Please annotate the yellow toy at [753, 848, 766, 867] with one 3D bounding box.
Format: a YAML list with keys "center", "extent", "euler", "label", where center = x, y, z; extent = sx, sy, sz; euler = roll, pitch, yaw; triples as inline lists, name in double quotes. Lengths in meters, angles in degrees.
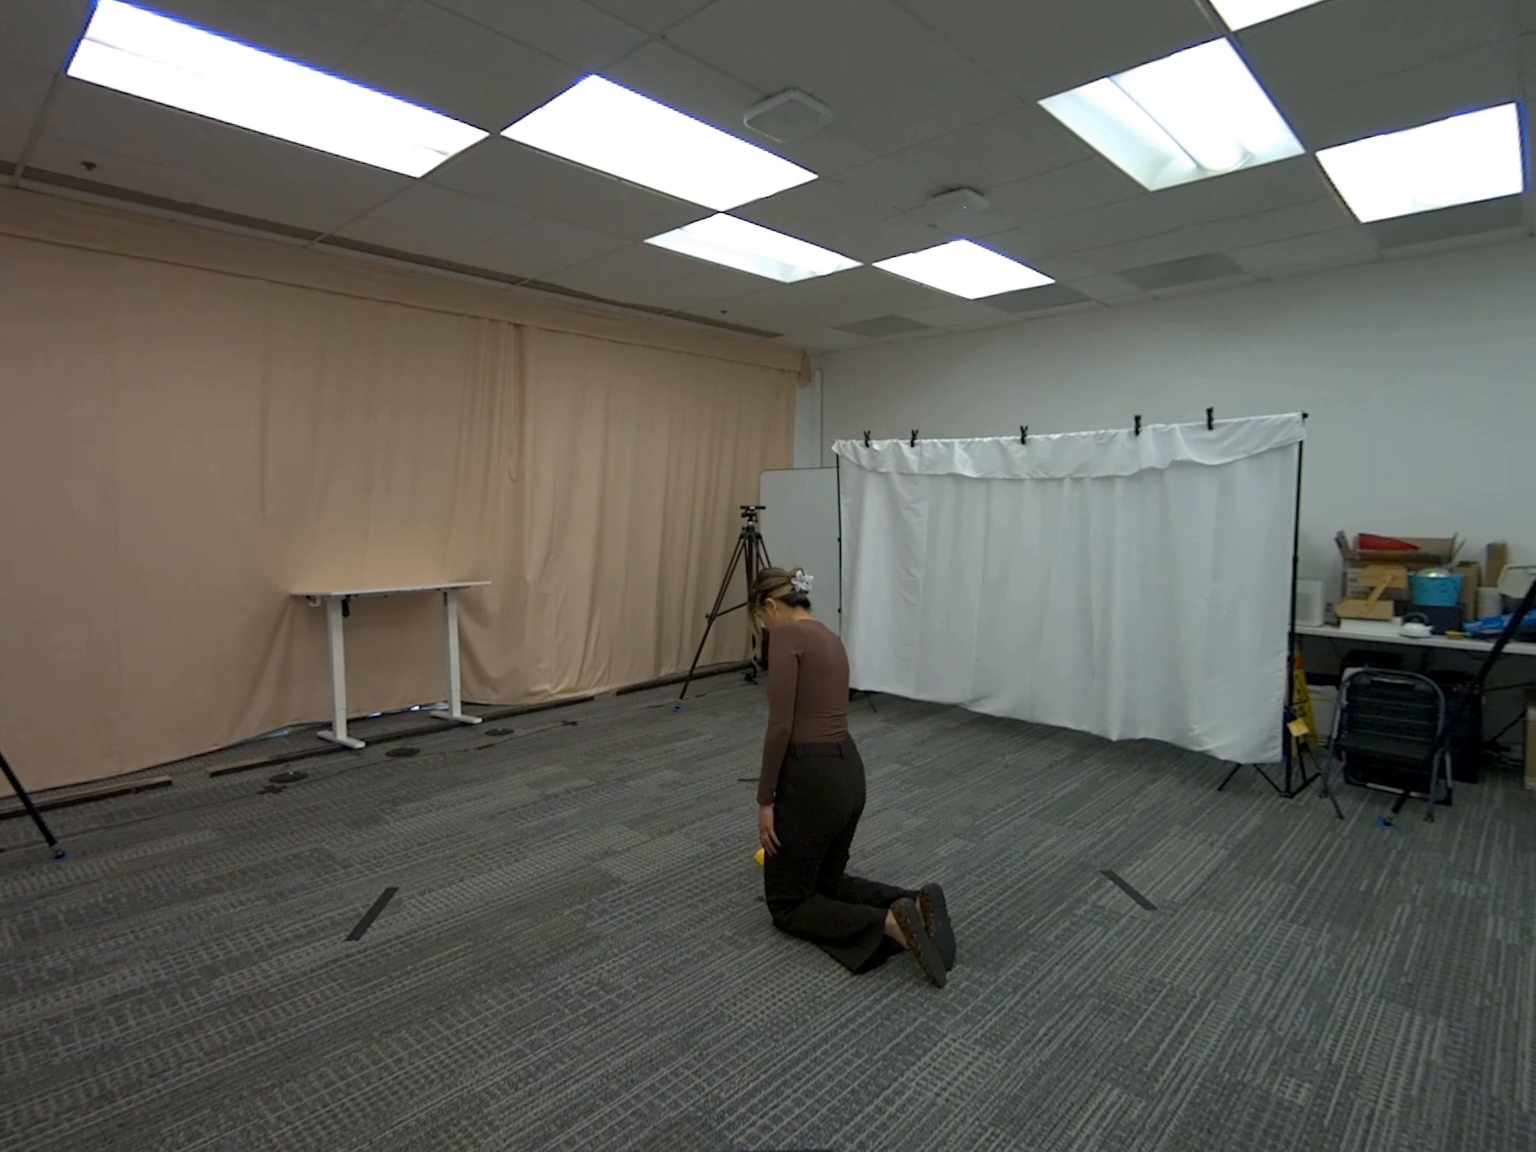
- center: [0.070, 1.003, 3.303]
  extent: [0.198, 0.230, 0.199]
  euler: [-5, 6, -45]
  label: "yellow toy"
